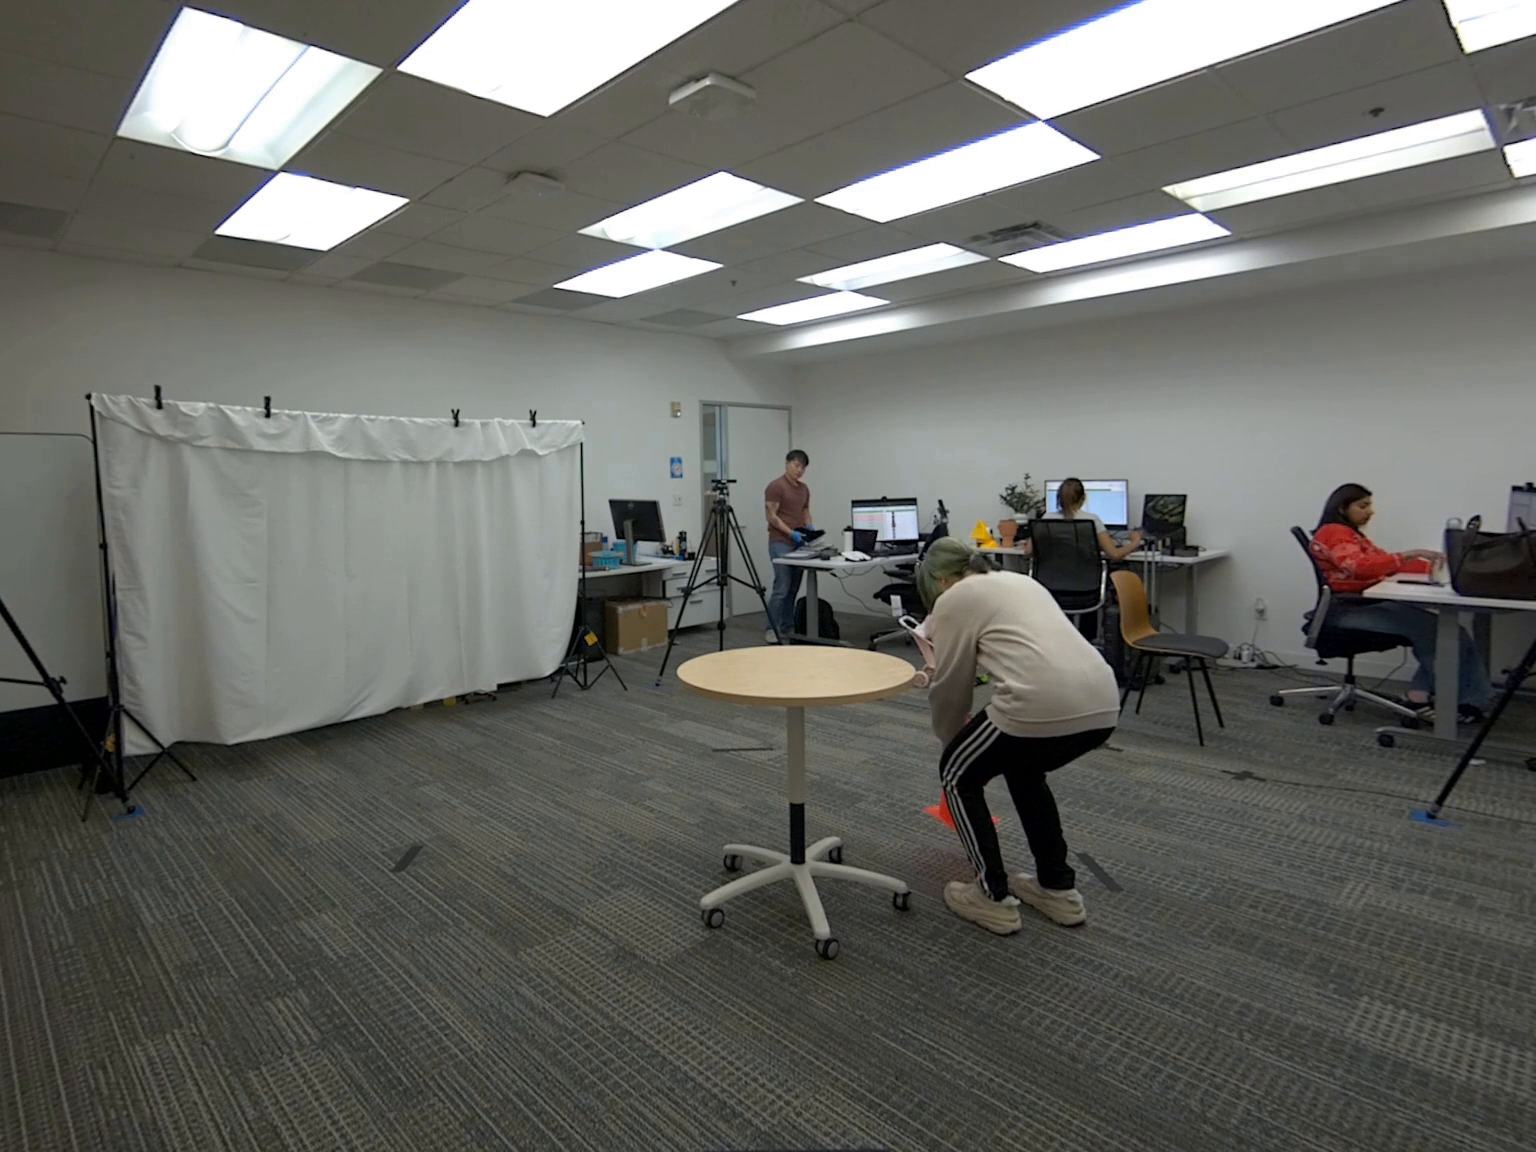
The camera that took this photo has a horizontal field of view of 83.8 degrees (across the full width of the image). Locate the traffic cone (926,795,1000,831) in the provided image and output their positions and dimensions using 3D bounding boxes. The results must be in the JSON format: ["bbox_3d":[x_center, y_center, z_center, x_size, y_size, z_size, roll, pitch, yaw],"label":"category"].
[{"bbox_3d":[0.711,0.672,3.055,0.202,0.383,0.207,-1,3,-18],"label":"traffic cone"}]
